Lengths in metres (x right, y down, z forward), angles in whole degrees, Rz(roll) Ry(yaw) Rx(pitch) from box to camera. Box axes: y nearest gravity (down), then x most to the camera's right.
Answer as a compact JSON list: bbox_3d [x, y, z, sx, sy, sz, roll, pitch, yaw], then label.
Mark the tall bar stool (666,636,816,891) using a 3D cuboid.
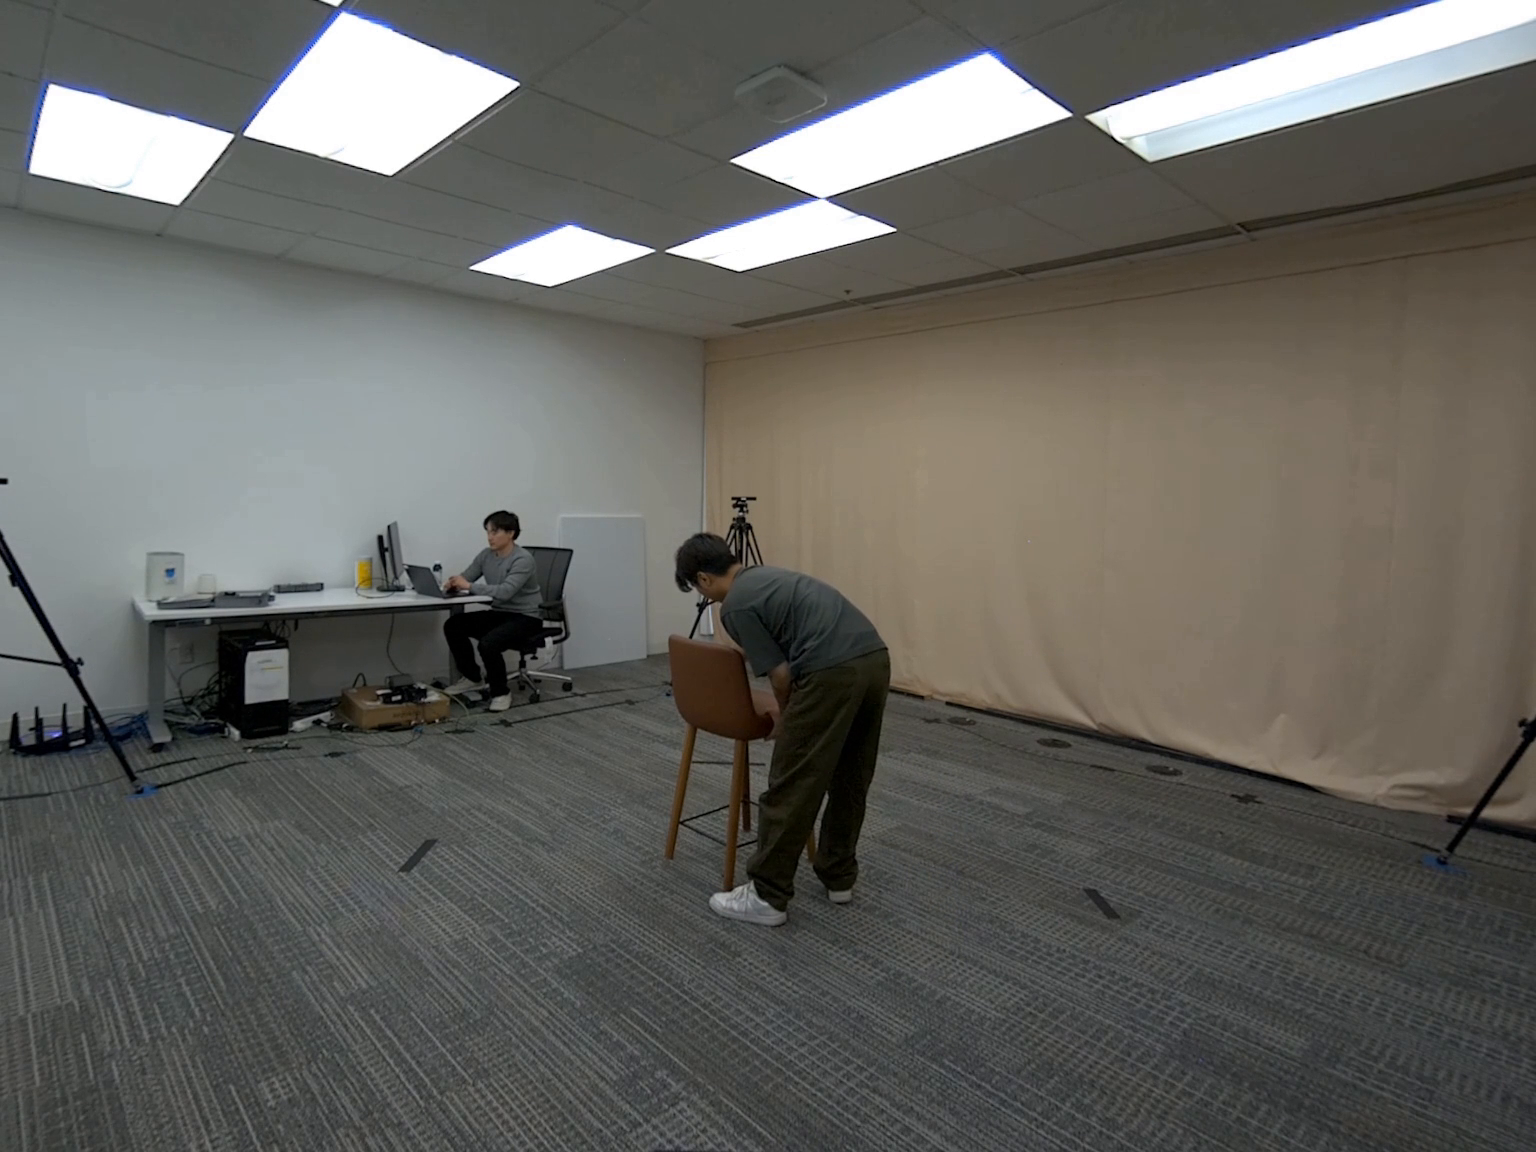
[{"bbox_3d":[-0.113,0.660,3.235,0.457,0.887,0.468,-3,5,-44],"label":"tall bar stool"}]
